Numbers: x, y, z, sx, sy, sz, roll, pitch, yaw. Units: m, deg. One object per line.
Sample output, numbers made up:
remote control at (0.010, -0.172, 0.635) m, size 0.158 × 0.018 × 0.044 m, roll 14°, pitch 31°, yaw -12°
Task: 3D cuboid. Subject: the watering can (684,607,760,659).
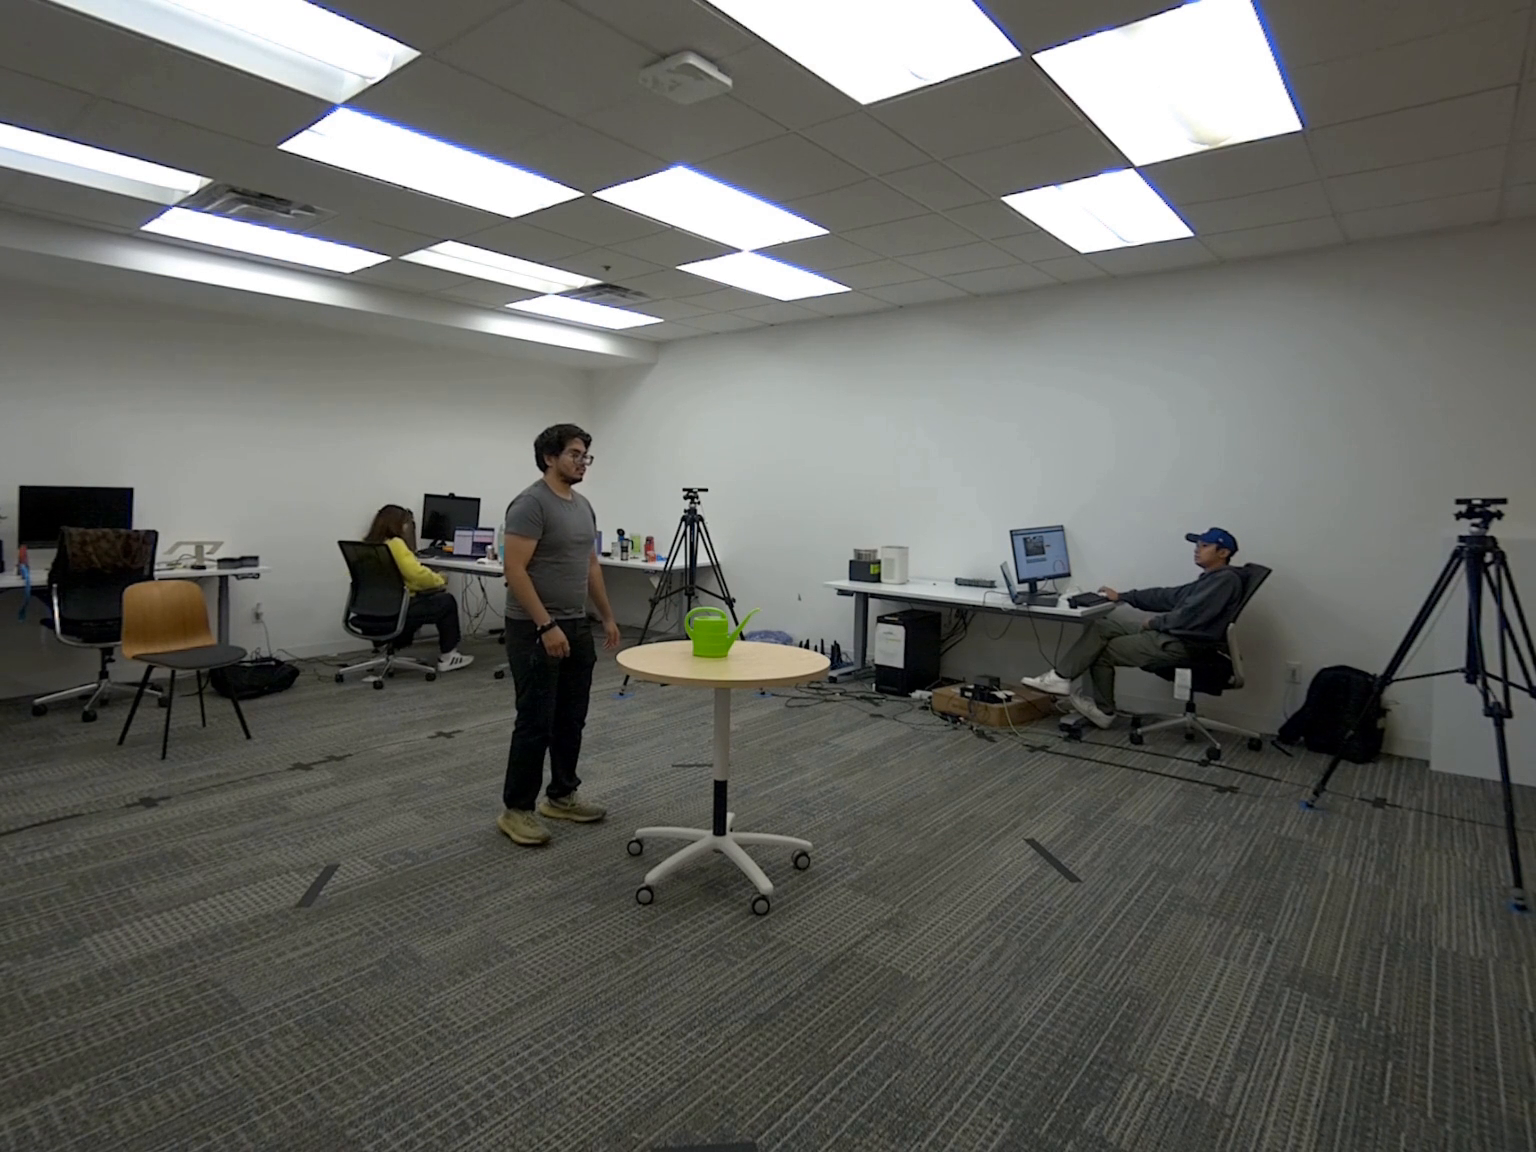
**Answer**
watering can at (-0.174, 0.204, 3.087) m, size 0.283 × 0.176 × 0.096 m, roll 1°, pitch 2°, yaw 18°
